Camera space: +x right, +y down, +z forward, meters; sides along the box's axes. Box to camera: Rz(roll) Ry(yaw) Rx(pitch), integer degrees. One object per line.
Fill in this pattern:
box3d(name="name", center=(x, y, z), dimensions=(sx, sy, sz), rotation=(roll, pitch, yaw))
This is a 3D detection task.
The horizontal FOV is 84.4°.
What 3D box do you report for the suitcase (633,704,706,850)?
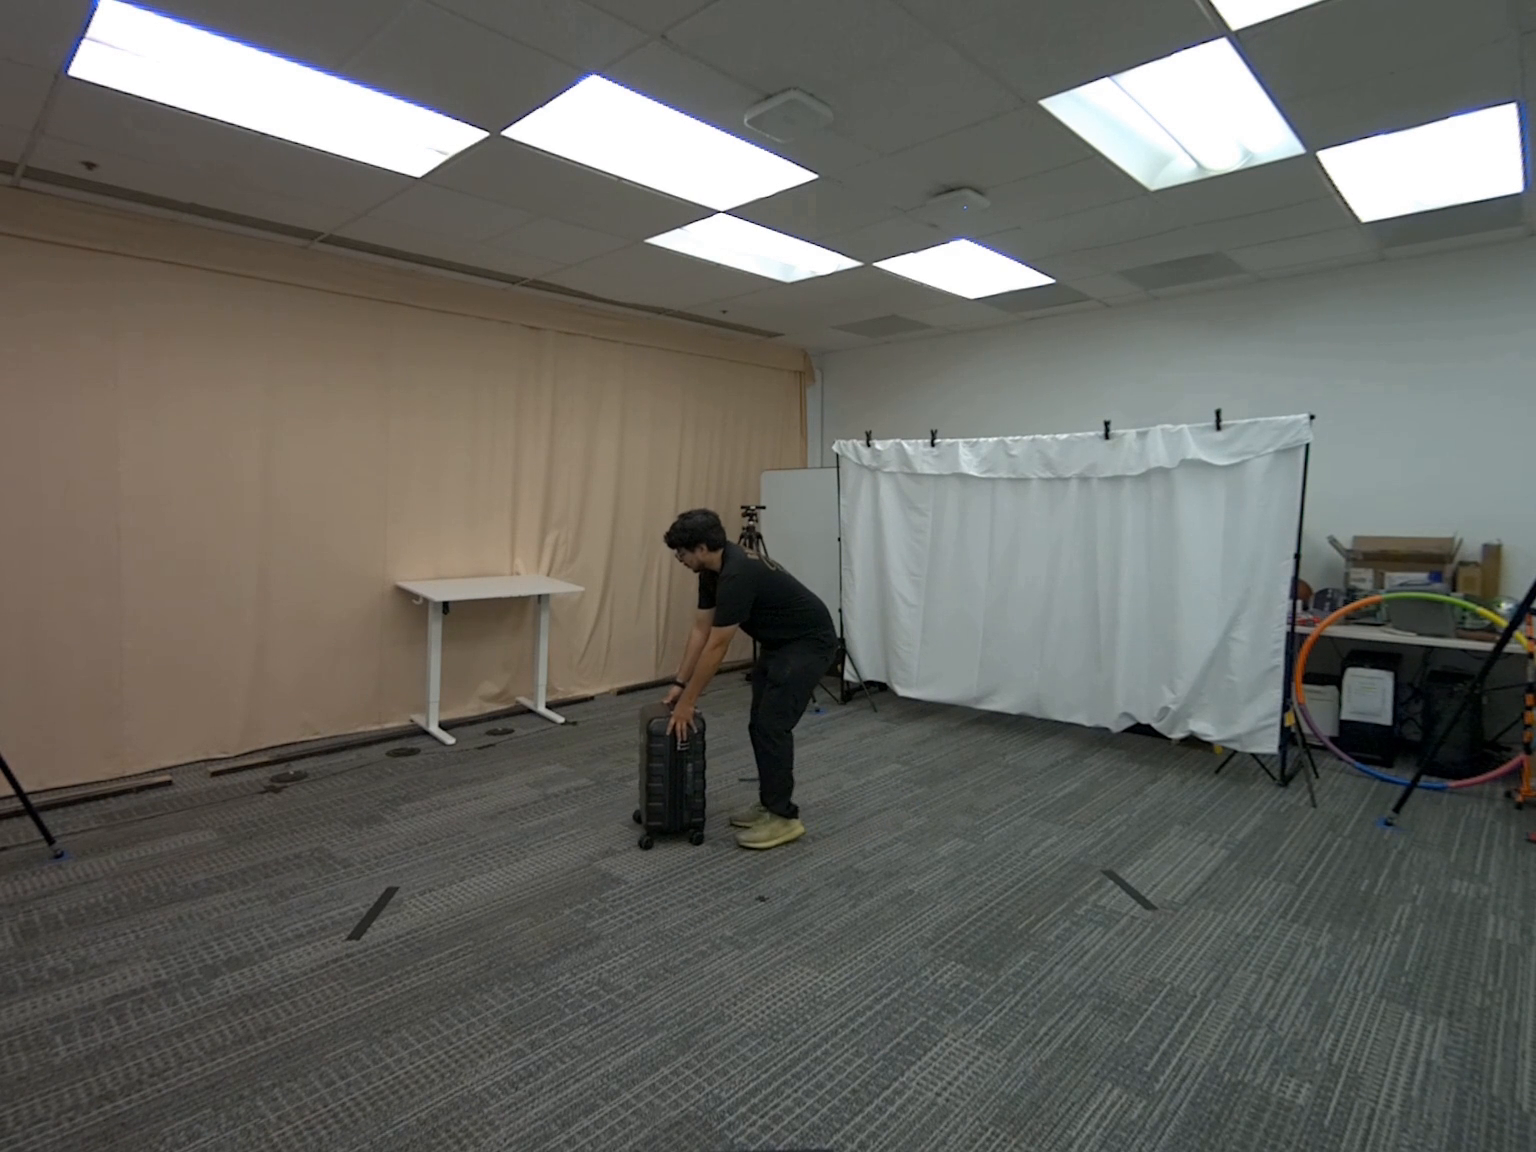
box3d(name="suitcase", center=(-0.411, 0.825, 3.594), dimensions=(0.245, 0.548, 0.381), rotation=(0, 2, -13))
